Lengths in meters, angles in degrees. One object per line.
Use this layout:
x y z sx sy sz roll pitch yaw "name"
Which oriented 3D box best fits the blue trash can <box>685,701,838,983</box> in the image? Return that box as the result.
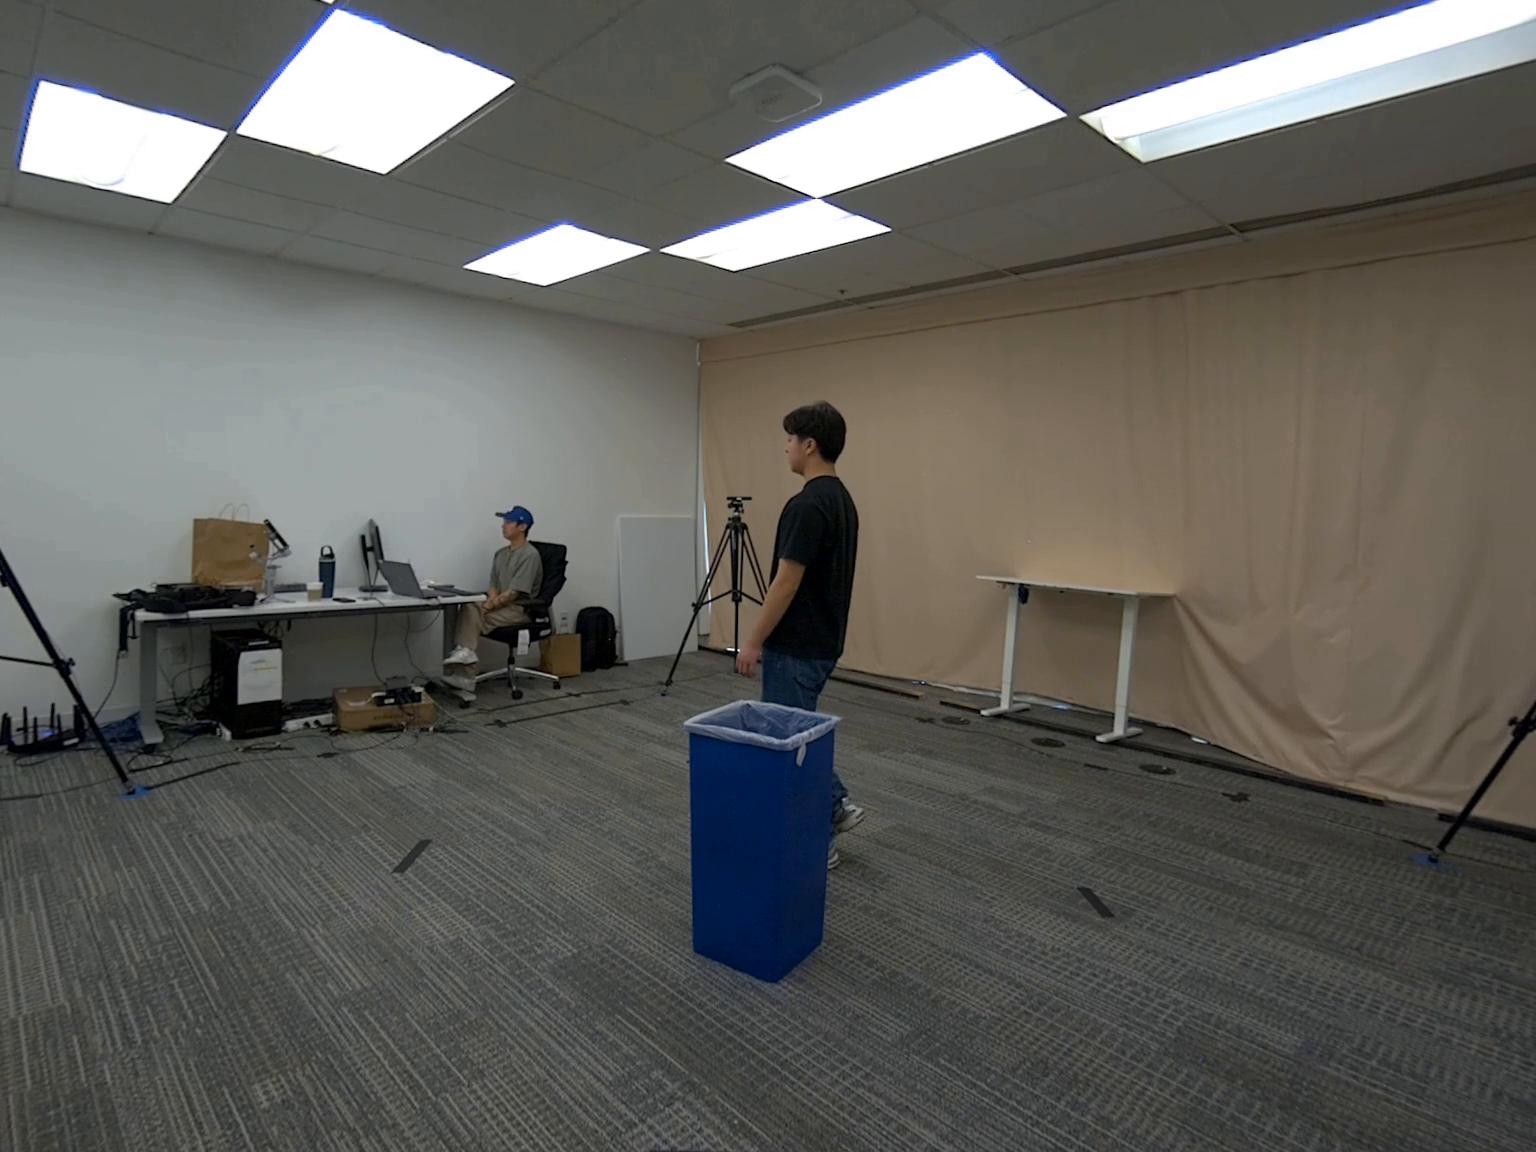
-0.033 0.798 2.599 0.383 0.712 0.370 4 4 32 "blue trash can"
